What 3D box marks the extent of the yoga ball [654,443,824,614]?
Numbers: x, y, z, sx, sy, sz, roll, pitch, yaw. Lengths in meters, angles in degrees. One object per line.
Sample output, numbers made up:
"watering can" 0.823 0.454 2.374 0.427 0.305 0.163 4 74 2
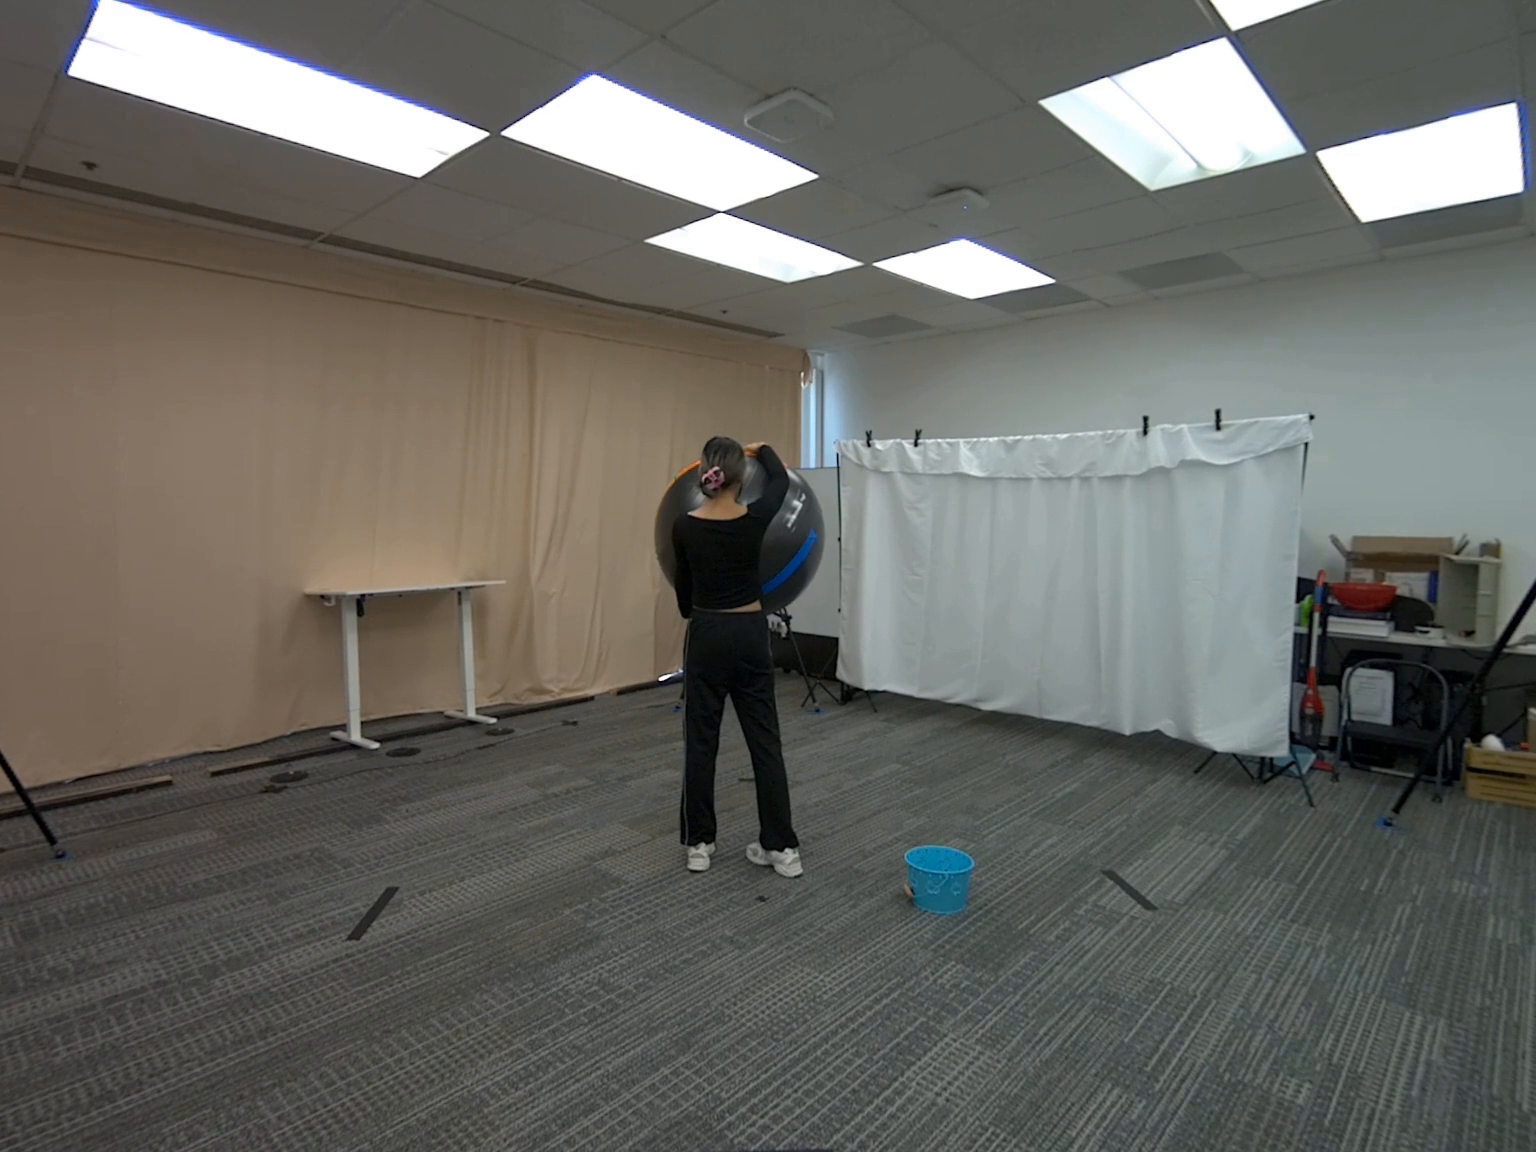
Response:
"yoga ball" -0.129 -0.173 3.750 0.757 0.756 0.760 0 4 -2
